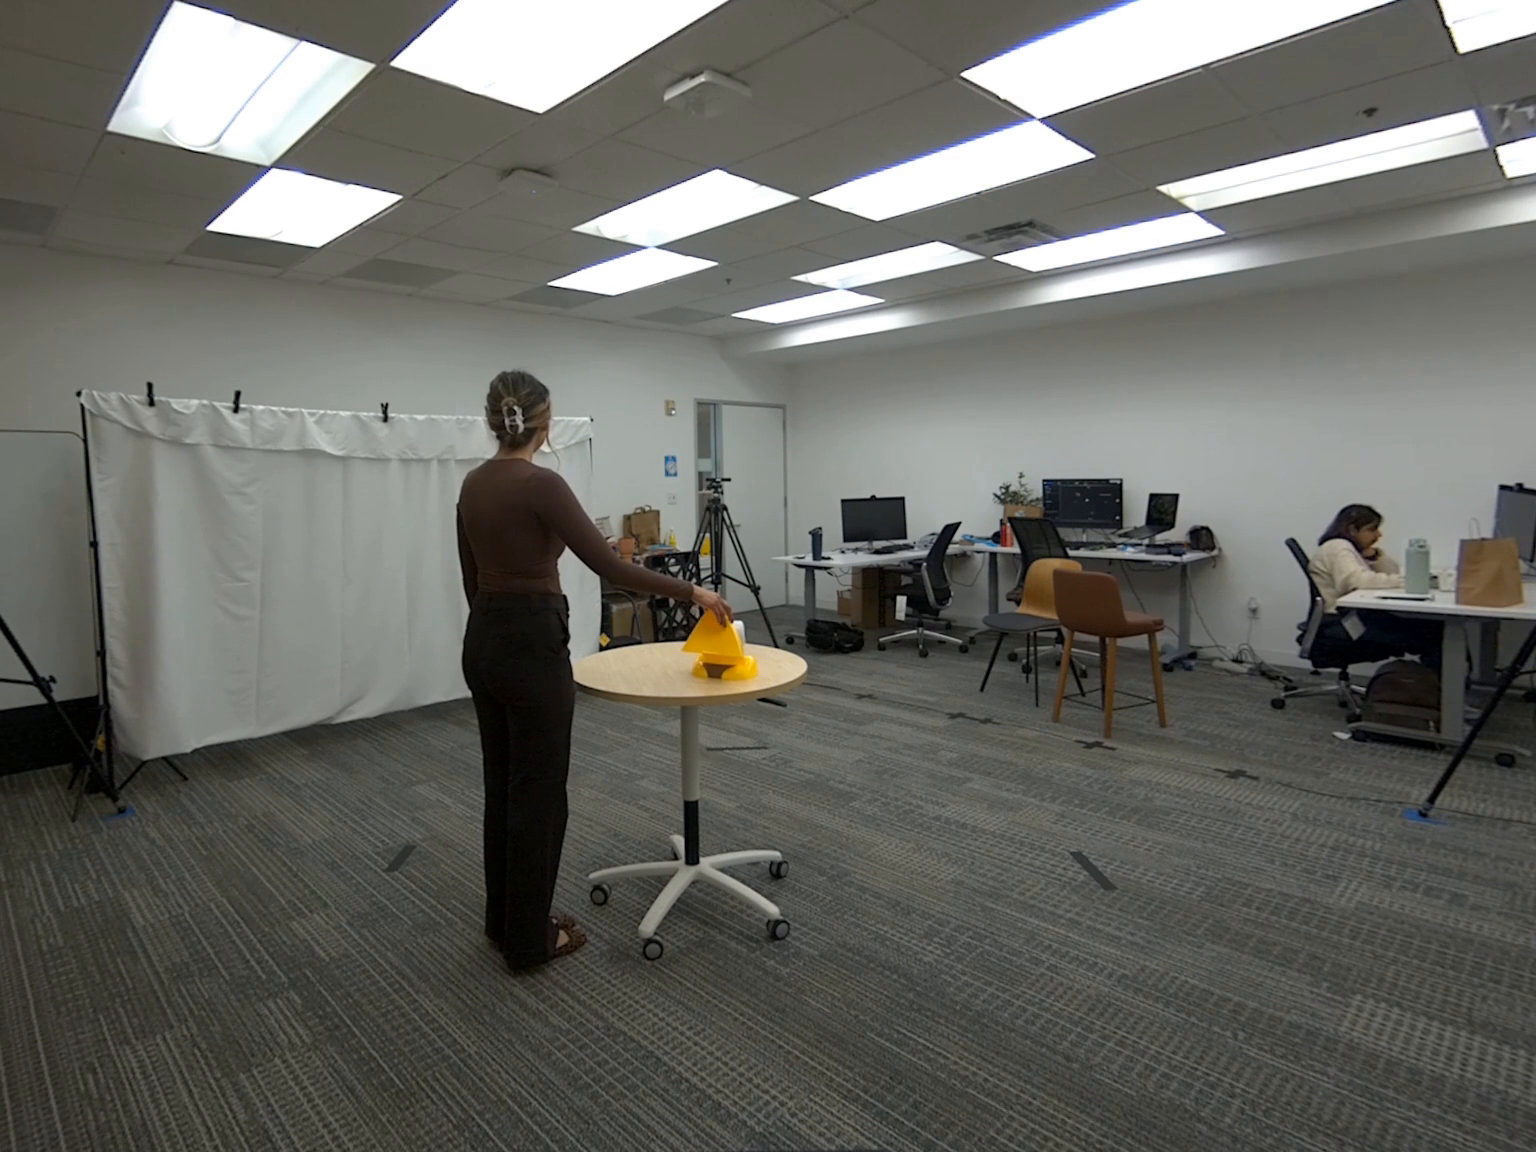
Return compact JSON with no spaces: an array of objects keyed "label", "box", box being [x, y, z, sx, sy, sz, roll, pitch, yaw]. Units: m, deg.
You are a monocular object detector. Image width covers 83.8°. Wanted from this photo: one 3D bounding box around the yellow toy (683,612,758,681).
[{"label":"yellow toy","box":[-0.132,0.189,2.634,0.209,0.229,0.190,2,6,23]}]
